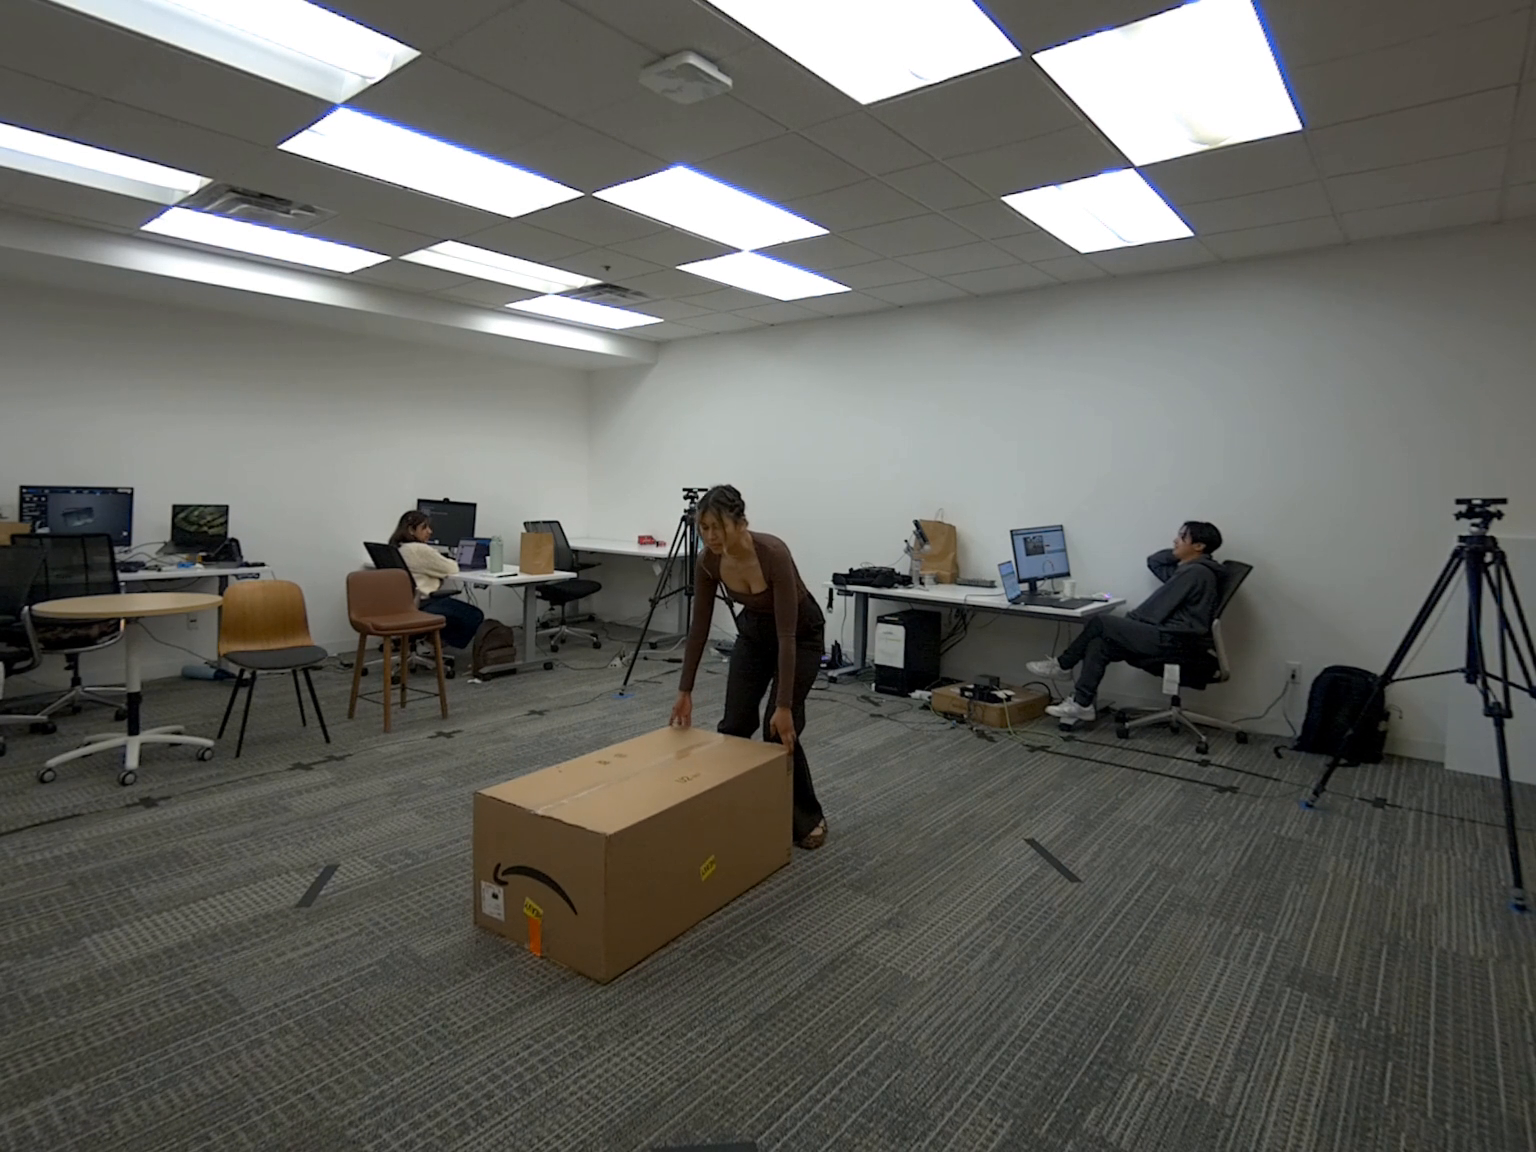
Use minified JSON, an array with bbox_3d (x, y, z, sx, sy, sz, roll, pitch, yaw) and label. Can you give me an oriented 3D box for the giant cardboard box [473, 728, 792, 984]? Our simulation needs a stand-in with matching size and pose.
[{"bbox_3d":[-0.435,0.875,2.924,0.602,0.445,0.999,5,7,33],"label":"giant cardboard box"}]
